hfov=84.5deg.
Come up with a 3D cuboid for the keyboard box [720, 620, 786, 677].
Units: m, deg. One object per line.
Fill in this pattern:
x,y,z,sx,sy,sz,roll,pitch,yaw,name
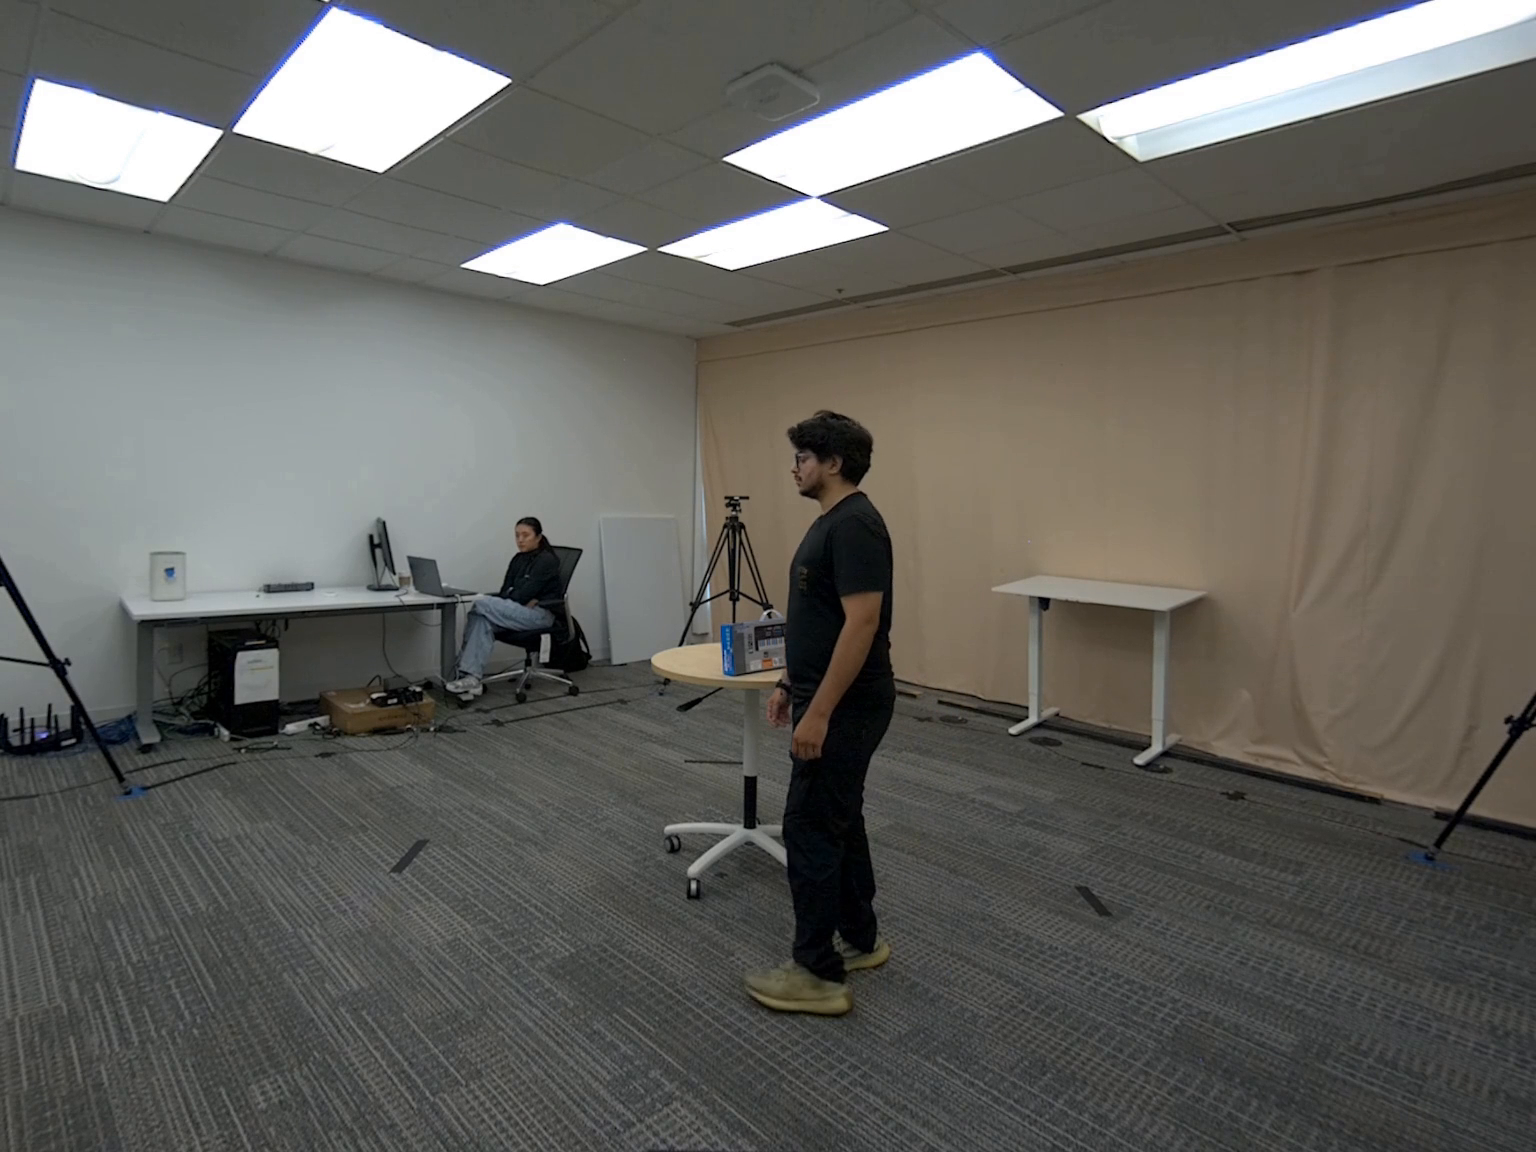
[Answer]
0.015,0.243,3.013,0.427,0.176,0.060,-4,0,-42,keyboard box
